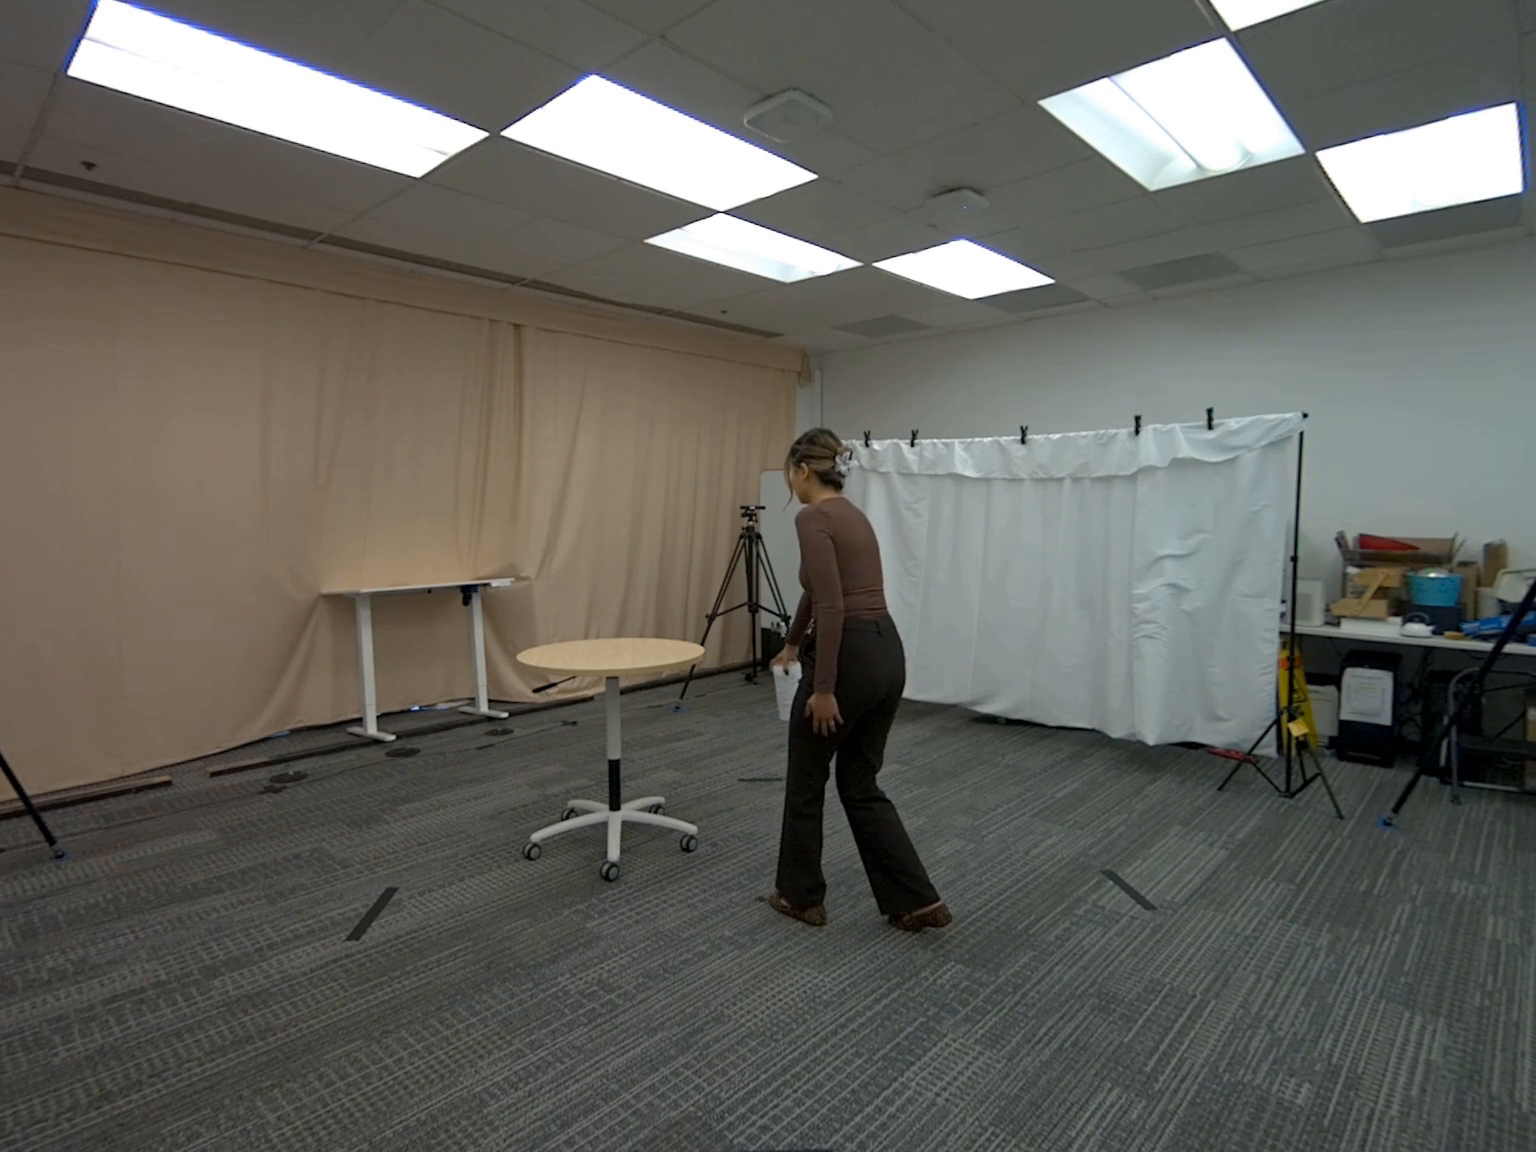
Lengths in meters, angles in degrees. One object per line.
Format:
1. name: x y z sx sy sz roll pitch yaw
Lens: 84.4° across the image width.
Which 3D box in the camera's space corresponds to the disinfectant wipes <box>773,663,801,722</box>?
1. disinfectant wipes: 0.083 0.452 3.306 0.118 0.216 0.118 -5 6 -1
